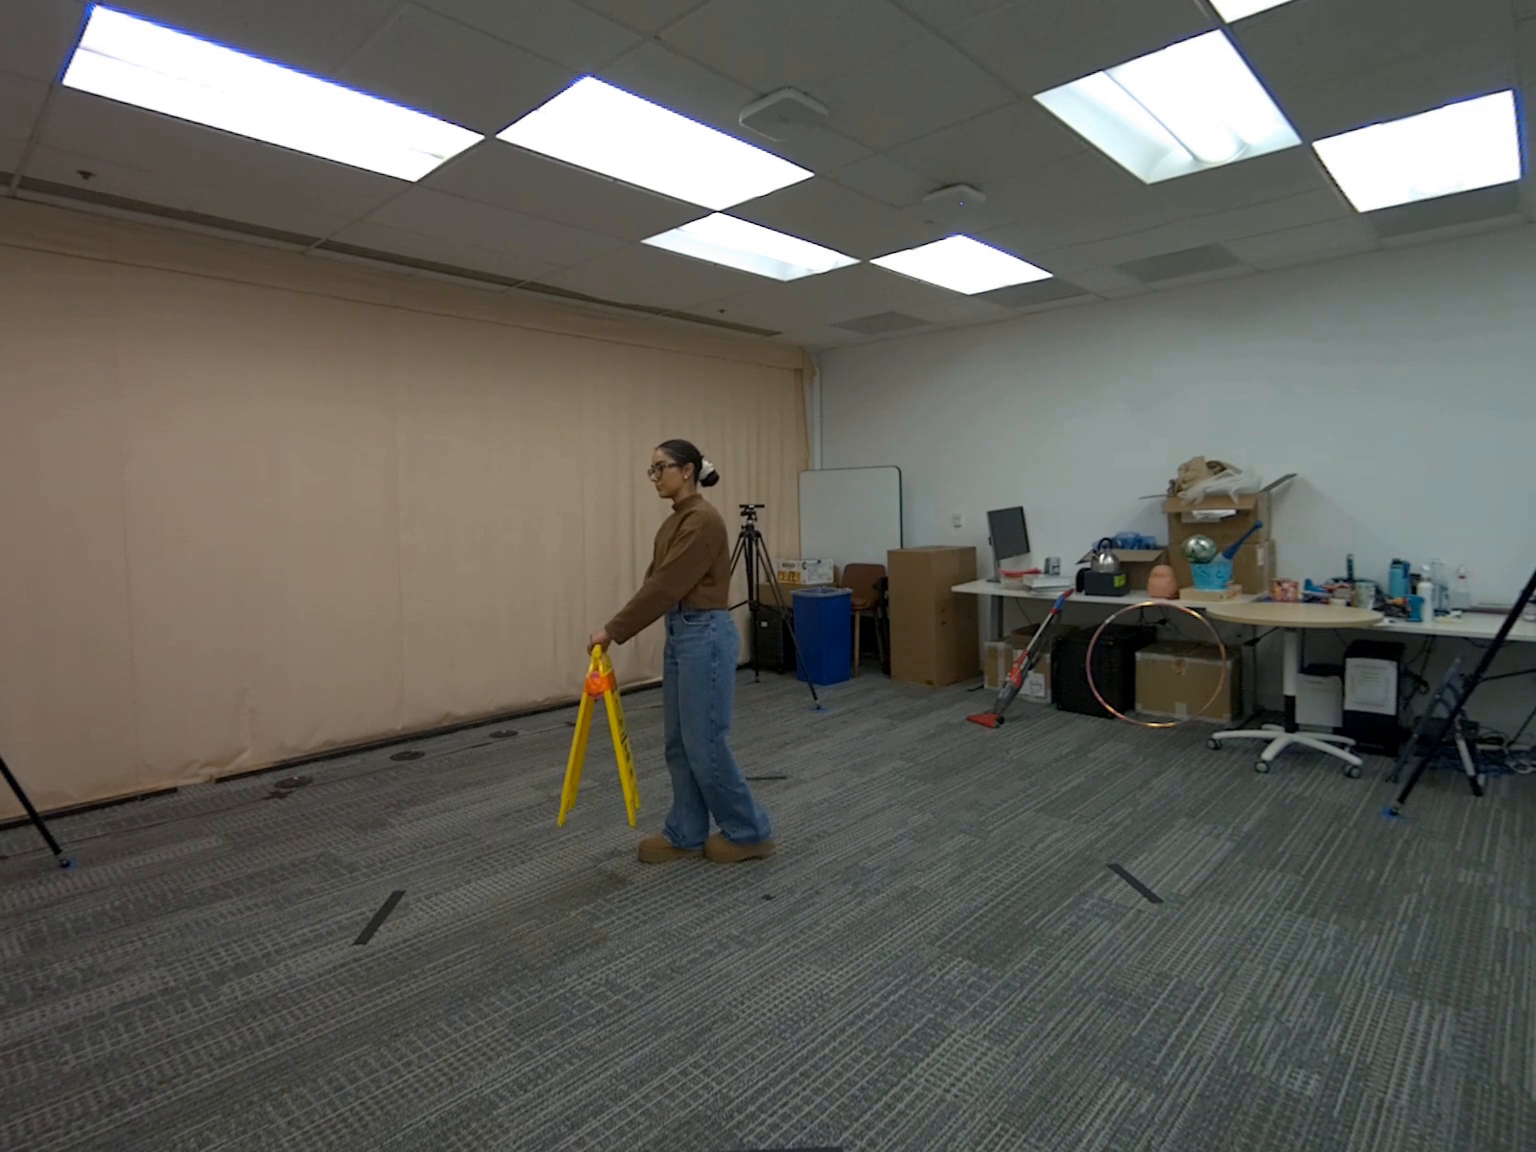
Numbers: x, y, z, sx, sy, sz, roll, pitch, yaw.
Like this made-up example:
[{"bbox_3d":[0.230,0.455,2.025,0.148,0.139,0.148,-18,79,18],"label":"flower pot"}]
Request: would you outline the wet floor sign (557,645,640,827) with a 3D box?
[{"bbox_3d":[-0.618,0.574,3.127,0.289,0.646,0.282,1,-1,-3],"label":"wet floor sign"}]
